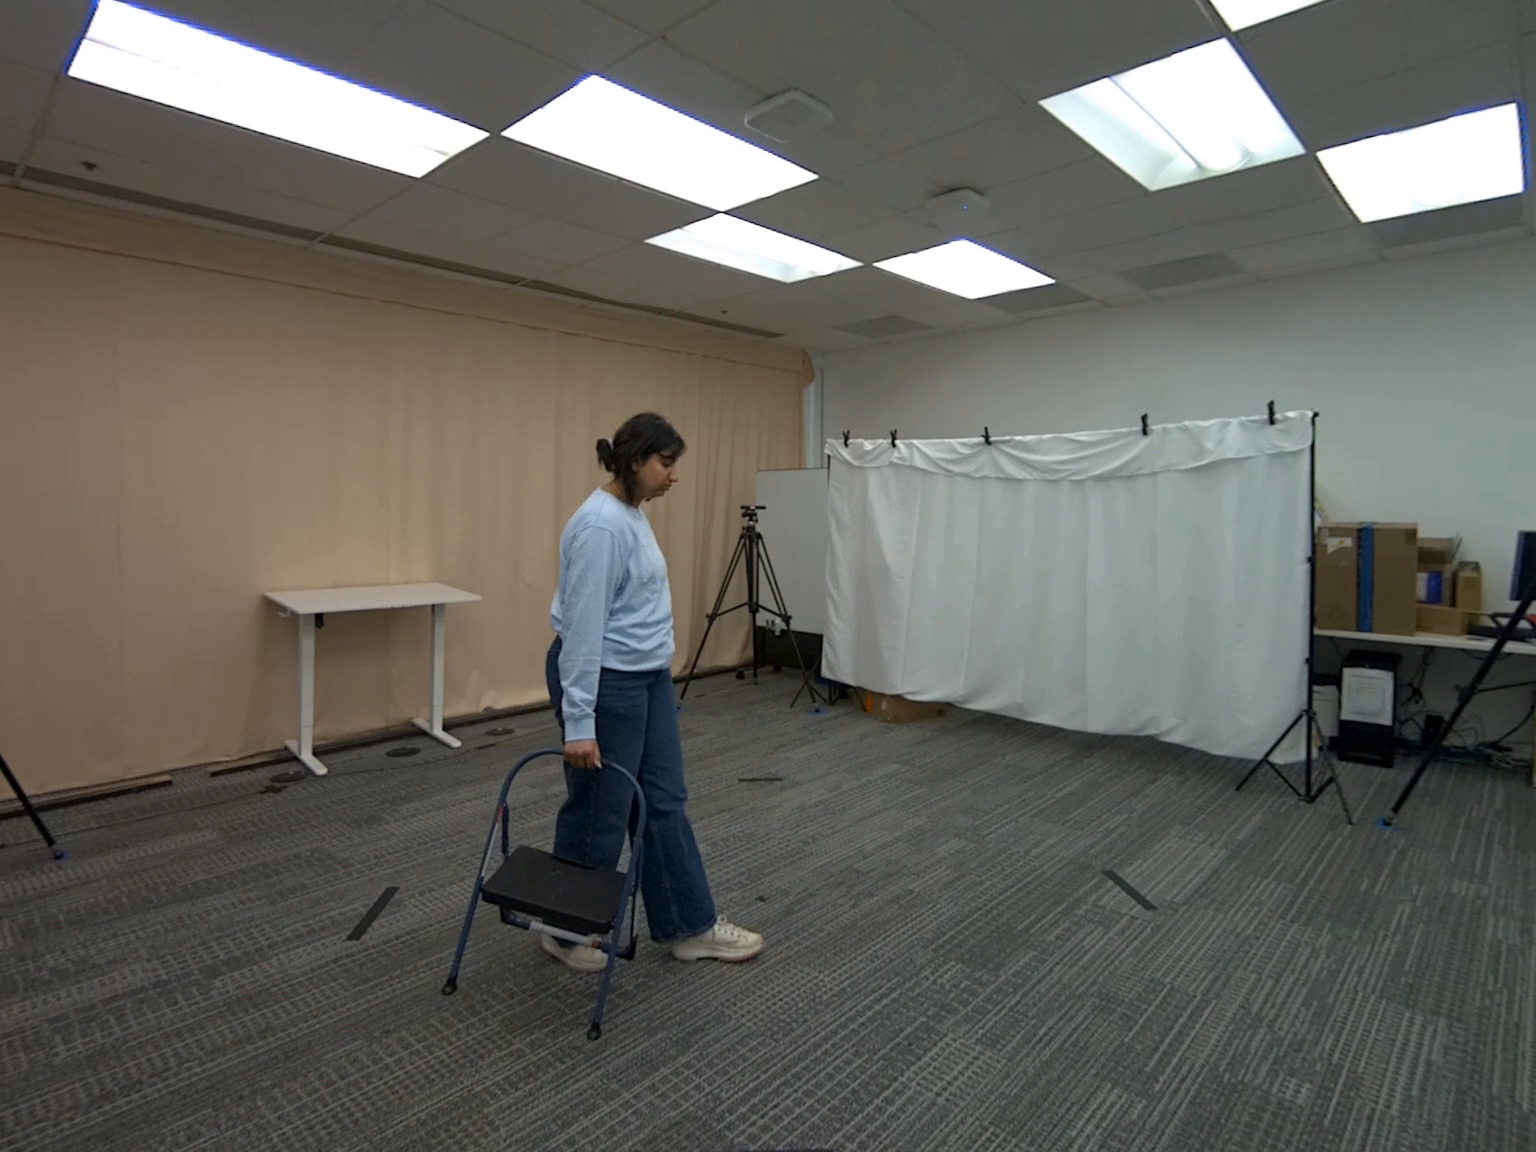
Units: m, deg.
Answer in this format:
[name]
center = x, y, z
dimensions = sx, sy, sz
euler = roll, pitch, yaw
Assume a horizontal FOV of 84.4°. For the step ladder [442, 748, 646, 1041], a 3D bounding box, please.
[step ladder]
center = -0.550, 0.787, 2.229
dimensions = 0.435, 0.603, 0.347
euler = 11, 10, 8
